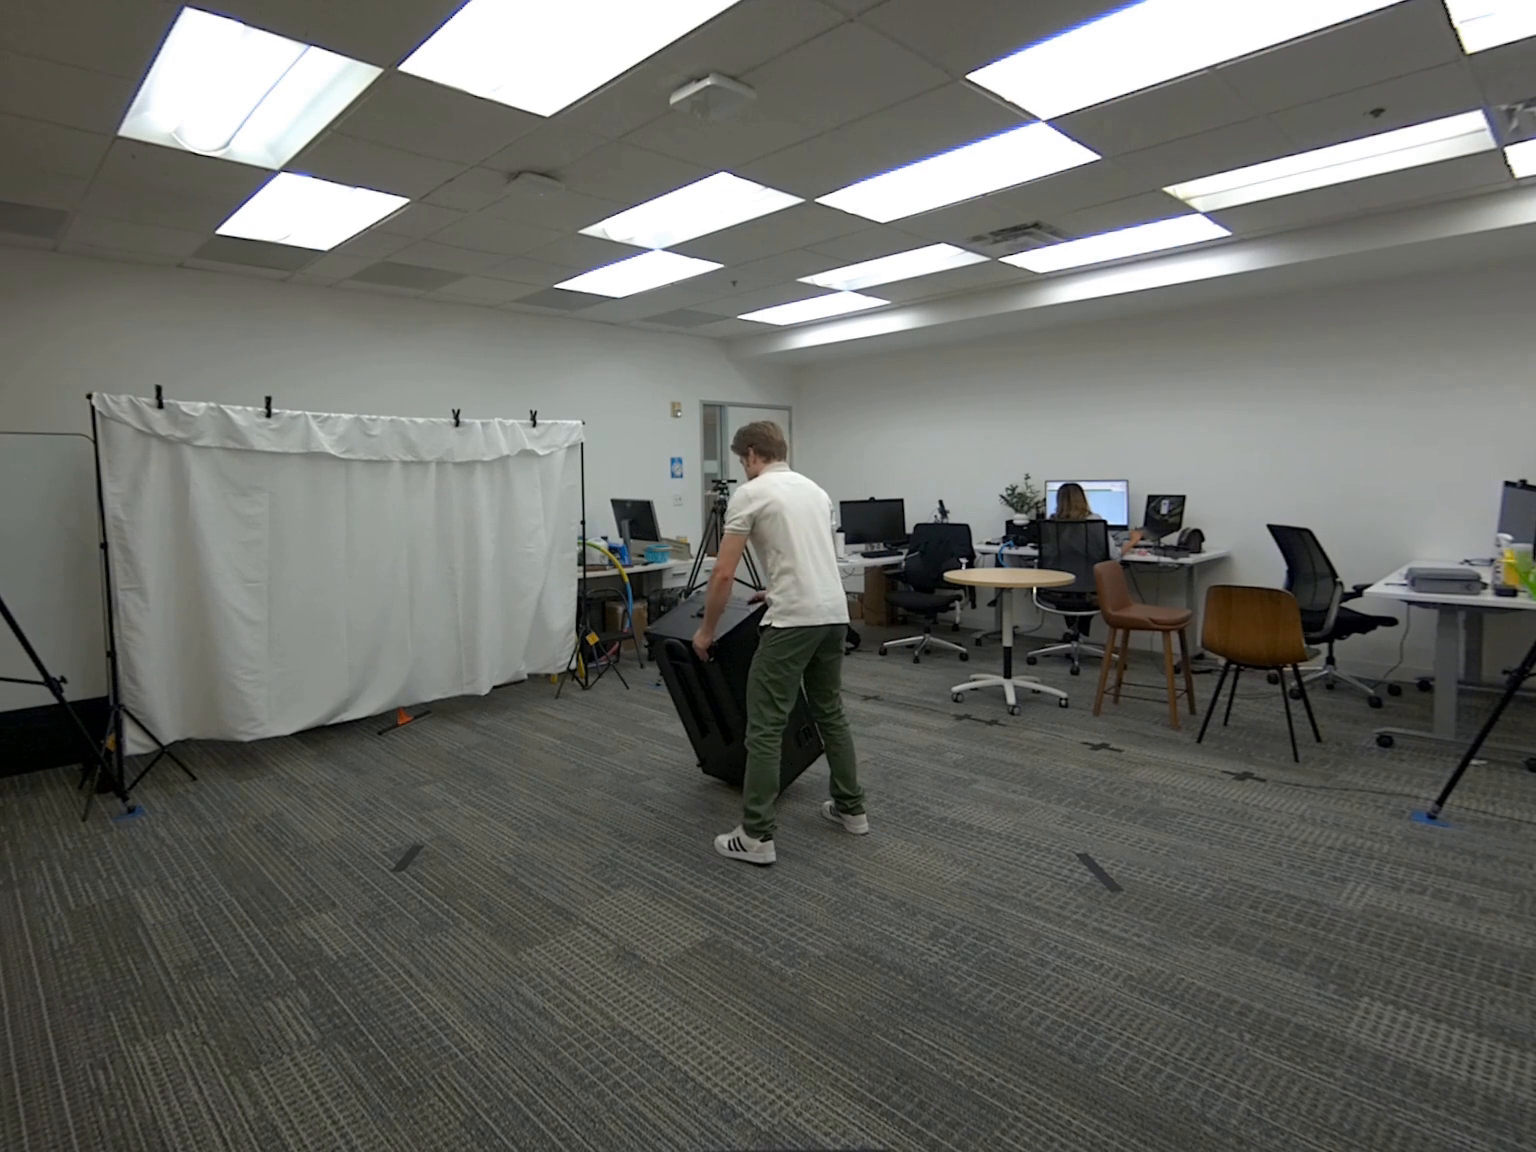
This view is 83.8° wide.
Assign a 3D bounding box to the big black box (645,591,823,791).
[{"bbox_3d":[-0.135,0.543,3.775,0.382,0.850,0.539,-33,23,-35],"label":"big black box"}]
